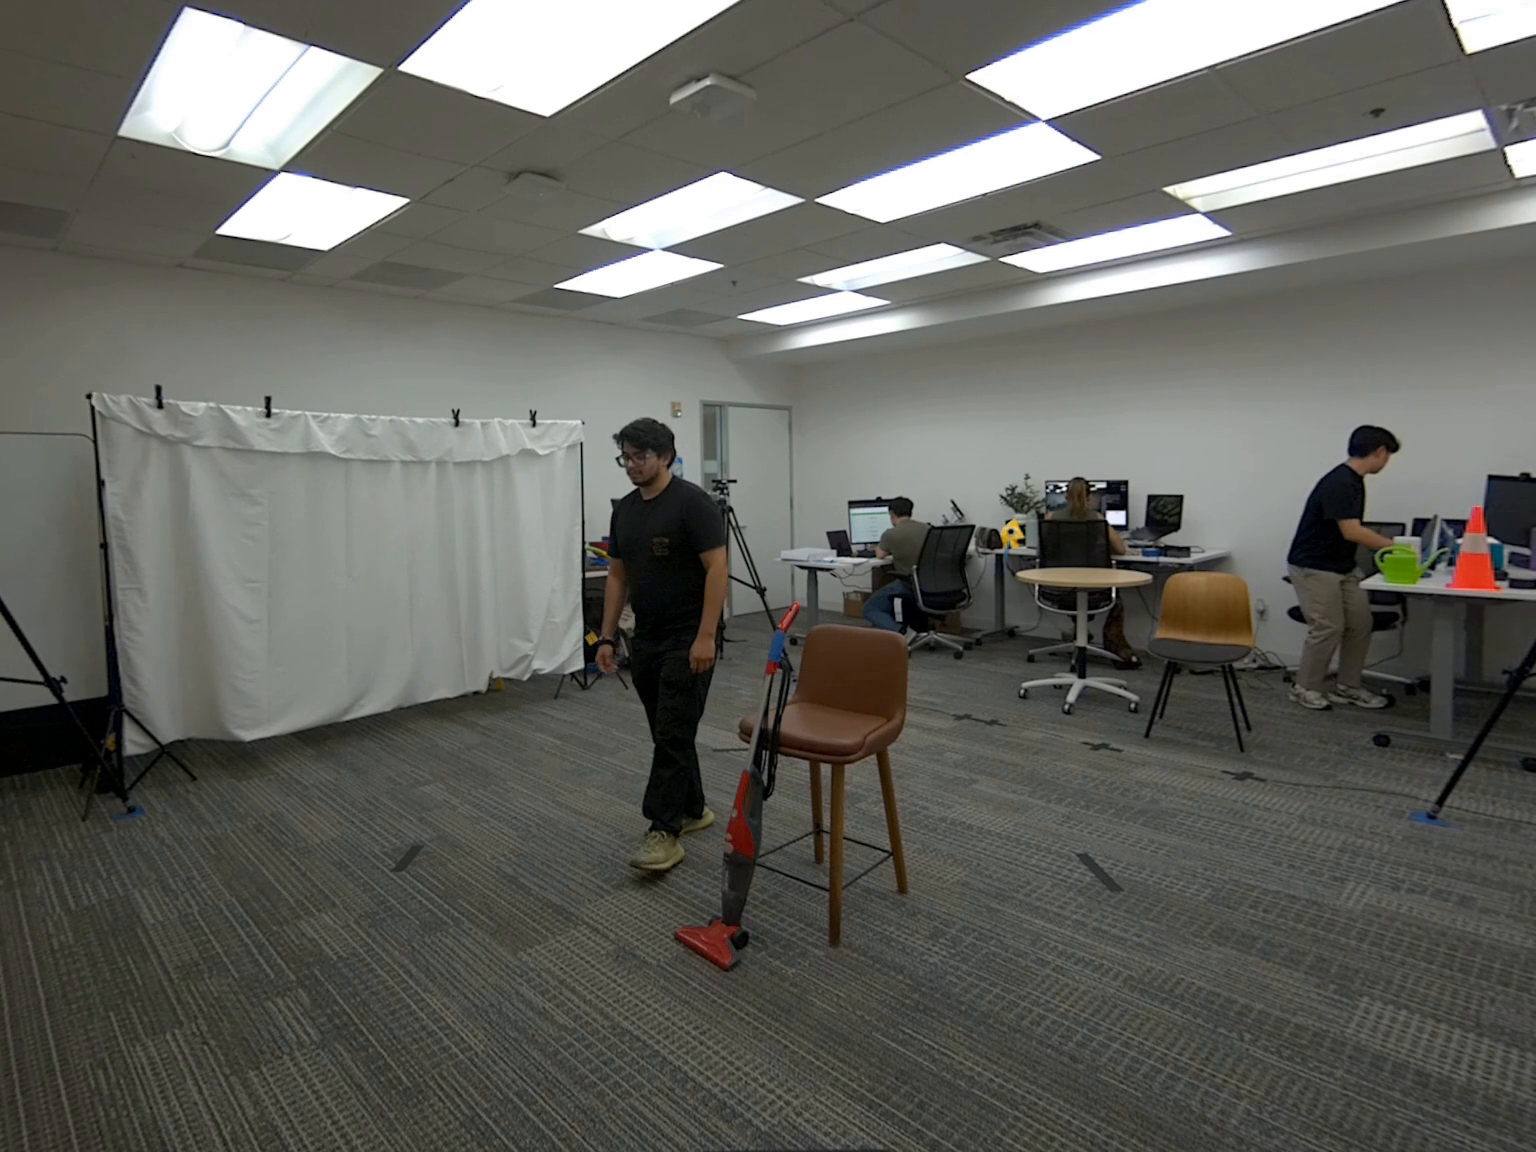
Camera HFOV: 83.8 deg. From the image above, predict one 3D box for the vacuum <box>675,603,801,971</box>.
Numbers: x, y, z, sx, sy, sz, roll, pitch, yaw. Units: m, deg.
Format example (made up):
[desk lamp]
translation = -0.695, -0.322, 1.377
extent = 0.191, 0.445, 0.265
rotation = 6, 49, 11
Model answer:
[vacuum]
translation = -0.032, 0.608, 2.646
extent = 0.260, 1.056, 0.139
rotation = 4, -12, 42
